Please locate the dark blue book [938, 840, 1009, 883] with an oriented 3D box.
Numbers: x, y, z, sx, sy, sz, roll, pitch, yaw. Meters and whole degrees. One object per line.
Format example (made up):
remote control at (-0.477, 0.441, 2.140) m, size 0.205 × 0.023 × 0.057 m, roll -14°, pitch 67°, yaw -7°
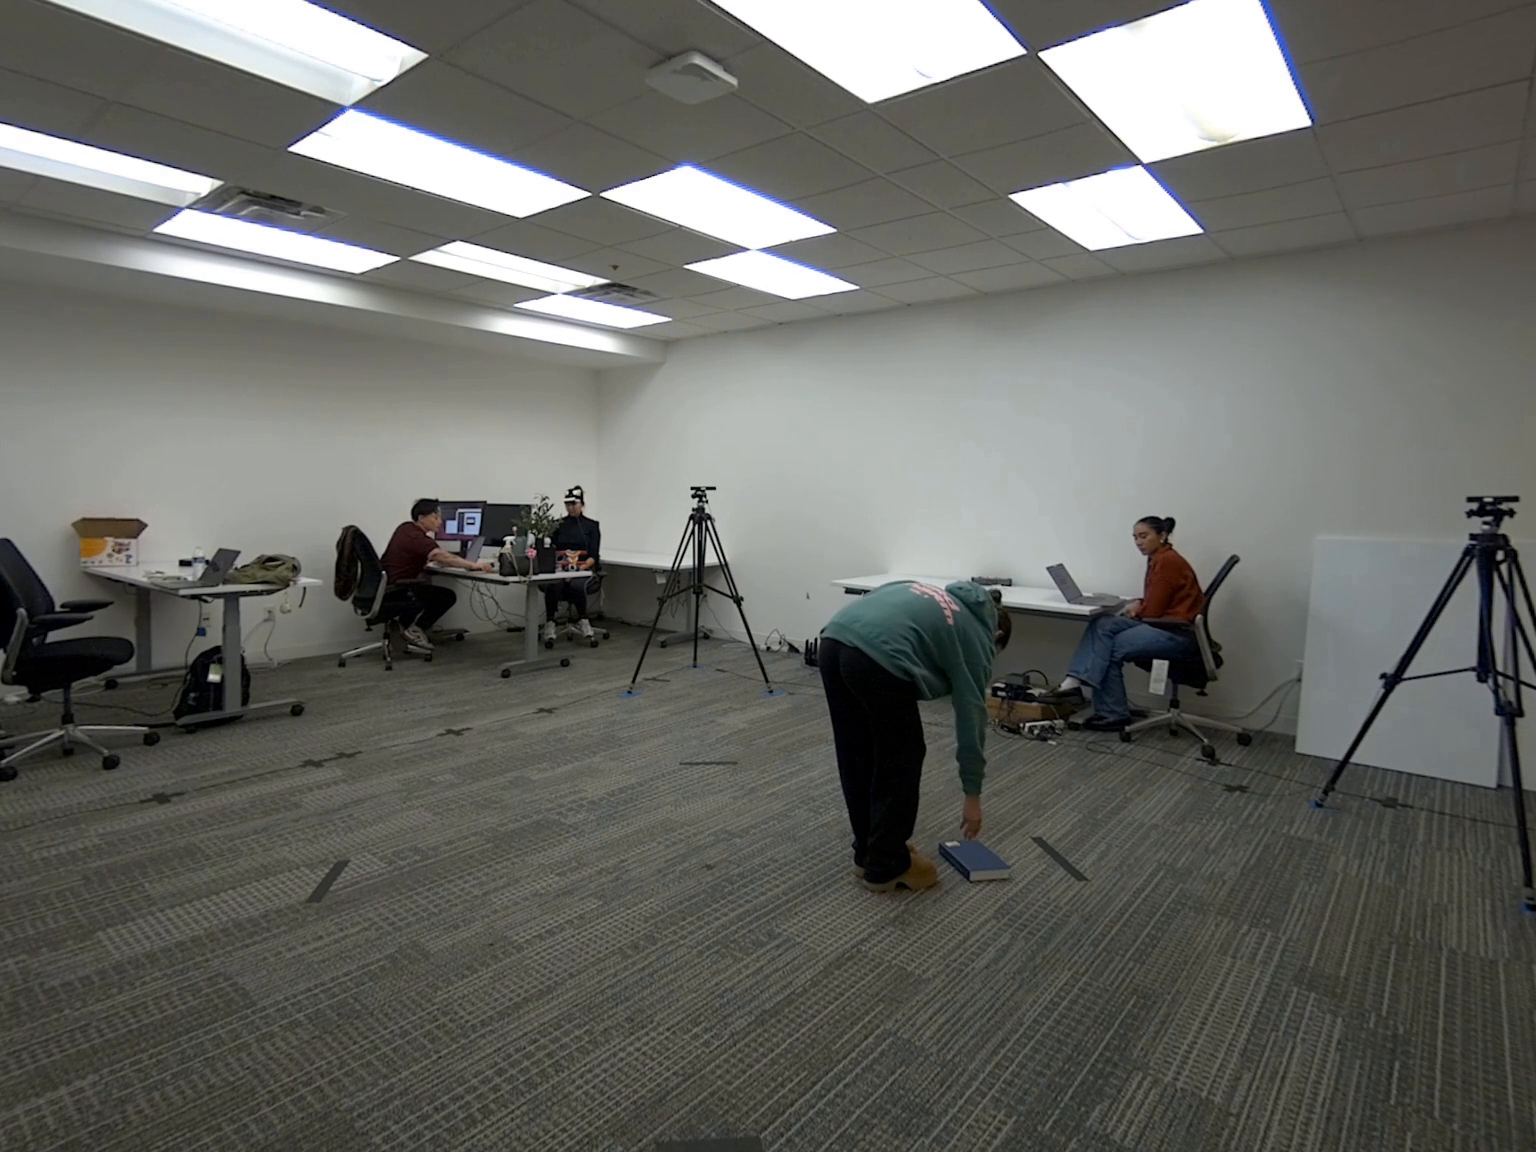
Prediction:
dark blue book at (0.760, 1.058, 3.175) m, size 0.161 × 0.045 × 0.250 m, roll -1°, pitch 7°, yaw -14°
